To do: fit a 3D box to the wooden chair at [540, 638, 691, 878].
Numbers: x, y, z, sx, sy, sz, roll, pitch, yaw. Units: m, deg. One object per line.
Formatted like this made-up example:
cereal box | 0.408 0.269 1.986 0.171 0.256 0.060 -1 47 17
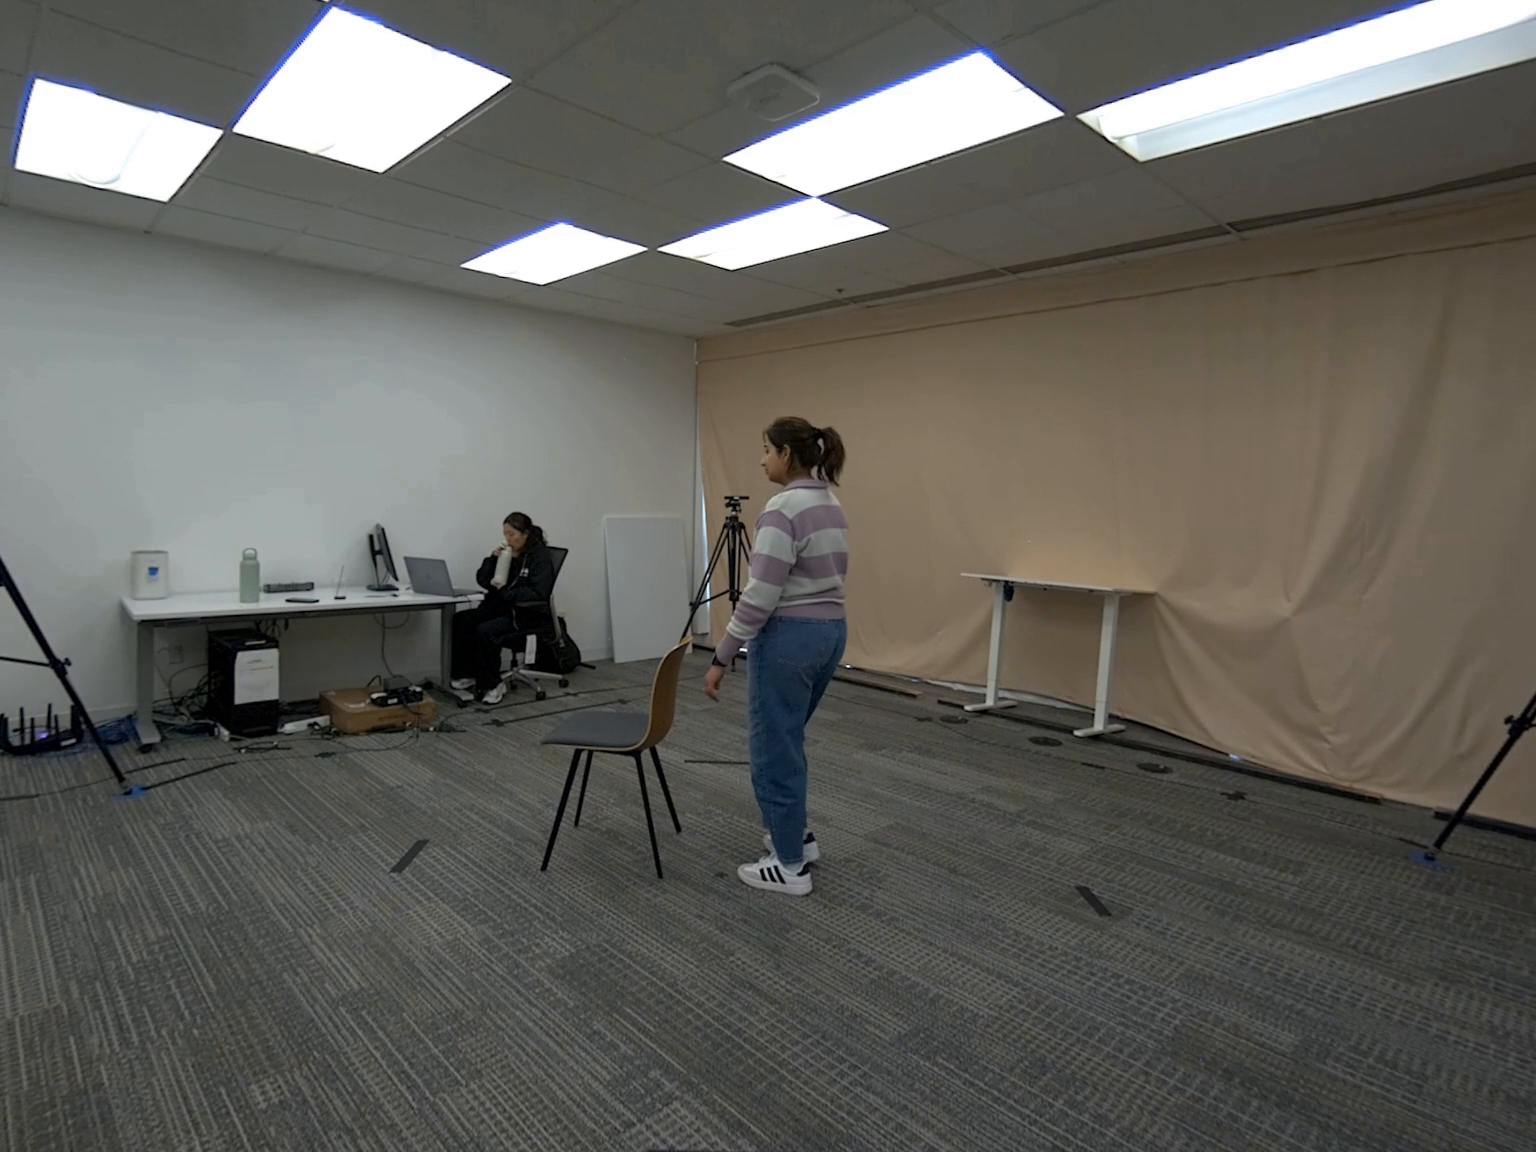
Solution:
wooden chair | -0.598 0.646 3.259 0.525 0.875 0.478 6 5 4
